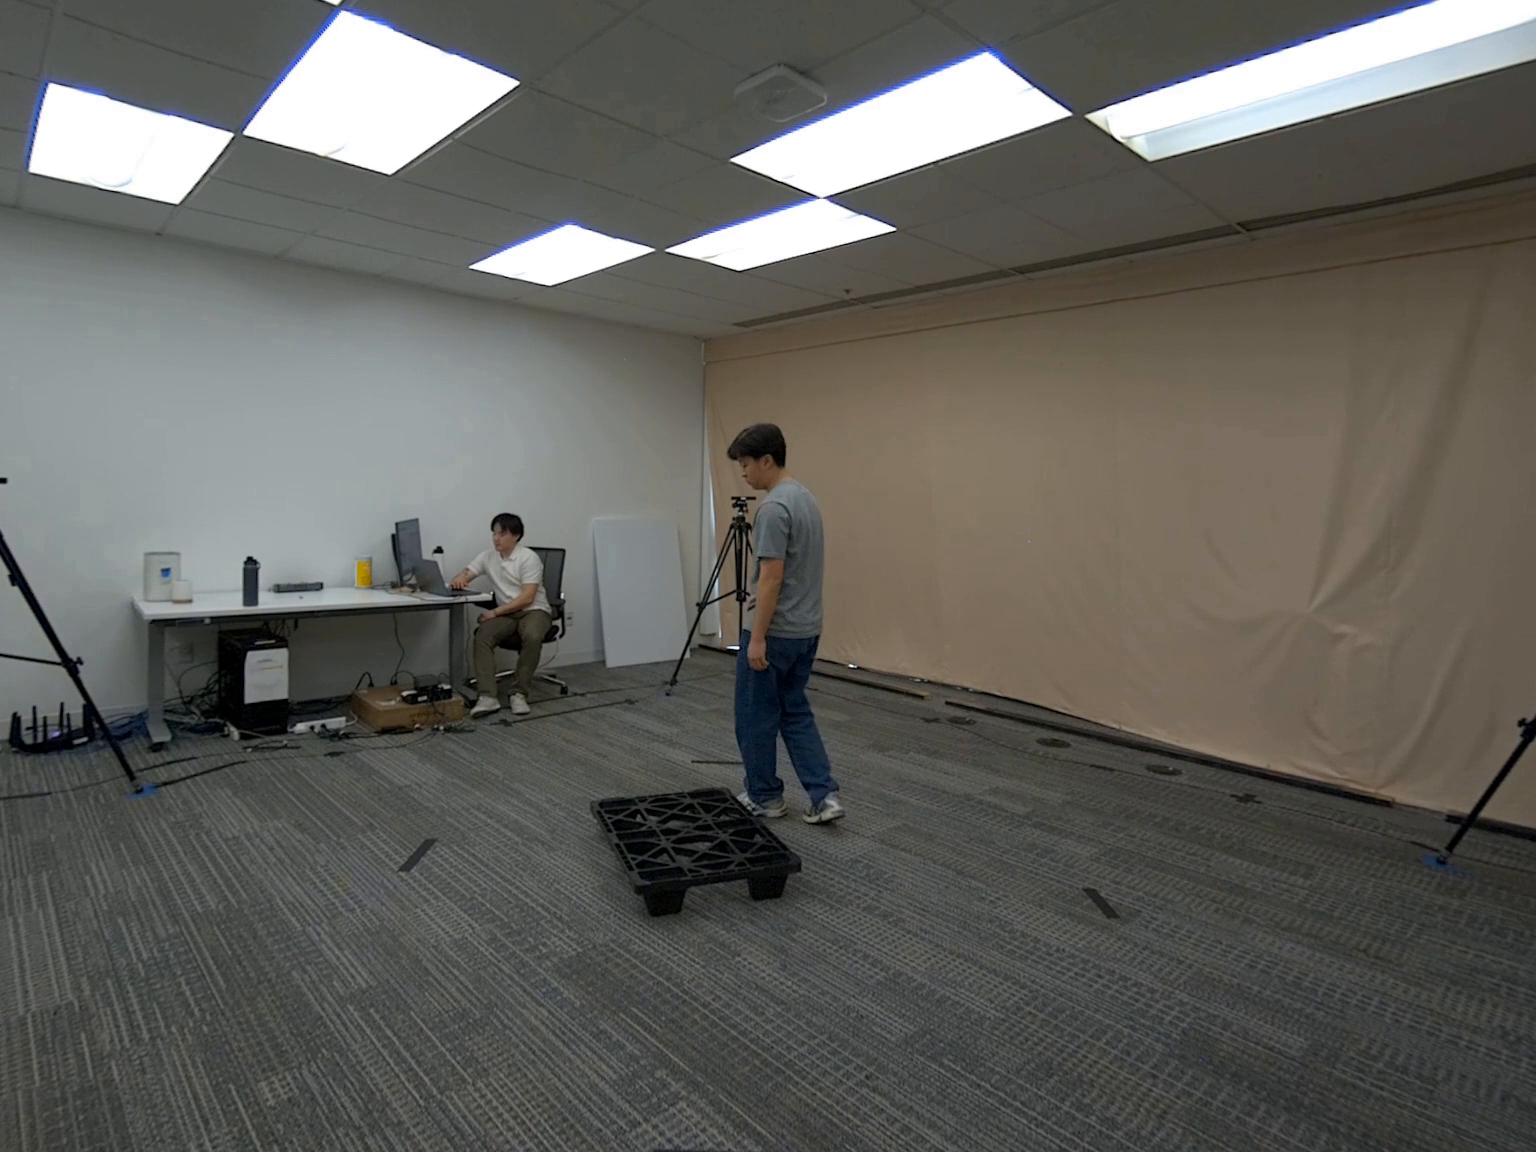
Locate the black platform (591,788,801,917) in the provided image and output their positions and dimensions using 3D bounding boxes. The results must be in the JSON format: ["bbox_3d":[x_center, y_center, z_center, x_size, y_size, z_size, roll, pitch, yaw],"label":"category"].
[{"bbox_3d":[-0.312,1.024,3.202,0.595,0.143,0.821,0,6,-22],"label":"black platform"}]
